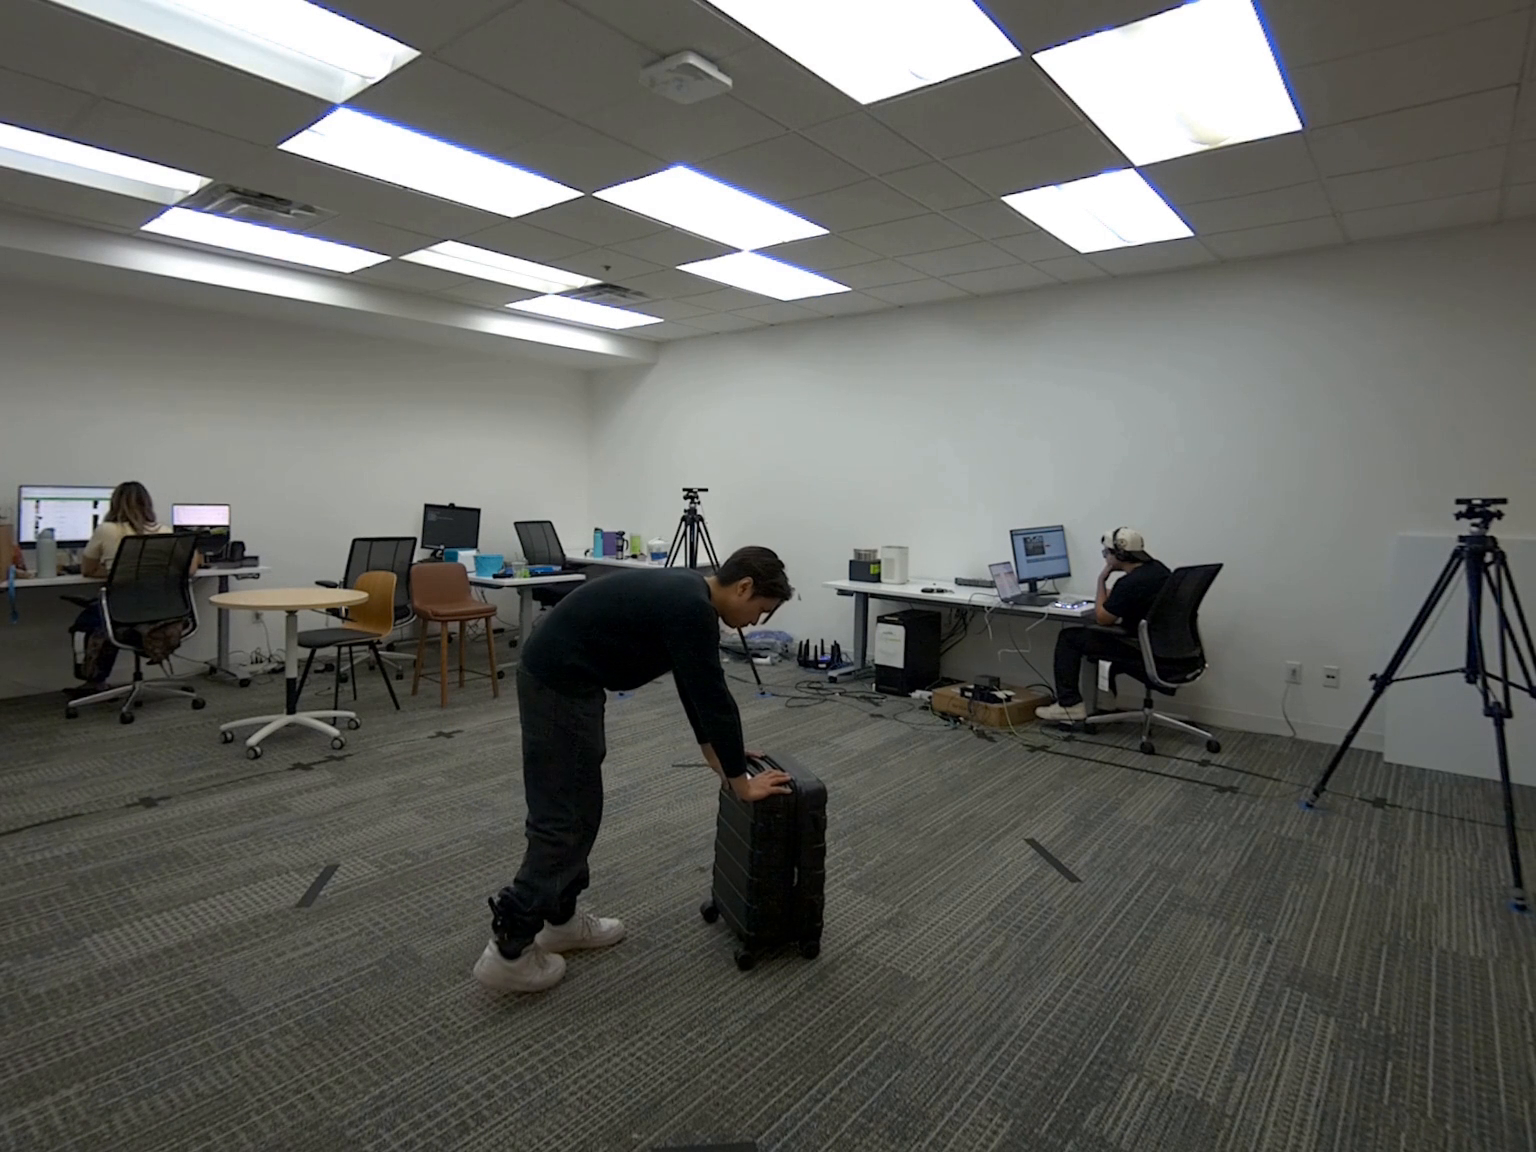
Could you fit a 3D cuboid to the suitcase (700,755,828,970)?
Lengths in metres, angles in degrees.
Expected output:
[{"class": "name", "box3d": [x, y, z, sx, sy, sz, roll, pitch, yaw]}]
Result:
[{"class": "suitcase", "box3d": [-0.015, 0.853, 2.639, 0.243, 0.548, 0.384, 2, 3, -22]}]
